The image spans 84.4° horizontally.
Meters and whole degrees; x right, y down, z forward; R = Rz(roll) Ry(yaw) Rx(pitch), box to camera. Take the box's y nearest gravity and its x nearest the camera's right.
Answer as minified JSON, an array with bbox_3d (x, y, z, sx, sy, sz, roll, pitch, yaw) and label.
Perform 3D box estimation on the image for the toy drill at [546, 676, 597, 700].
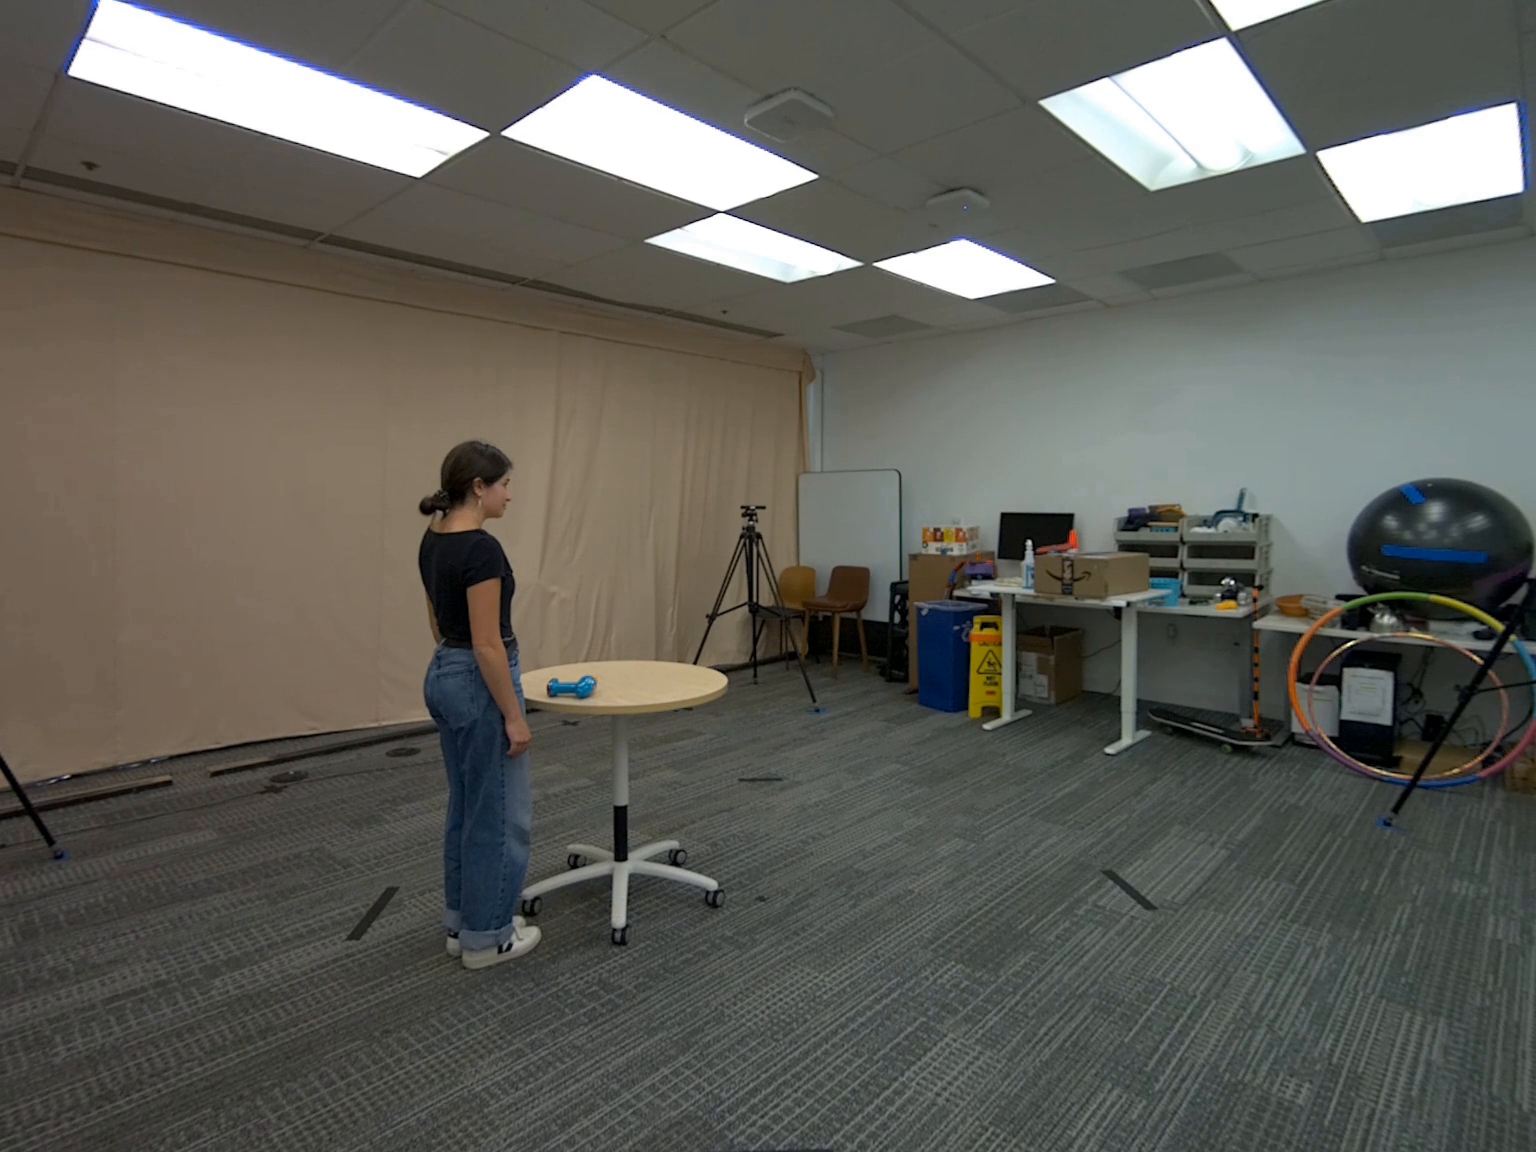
[{"bbox_3d":[-0.618,0.357,2.723,0.148,0.061,0.169,-1,11,10],"label":"toy drill"}]
